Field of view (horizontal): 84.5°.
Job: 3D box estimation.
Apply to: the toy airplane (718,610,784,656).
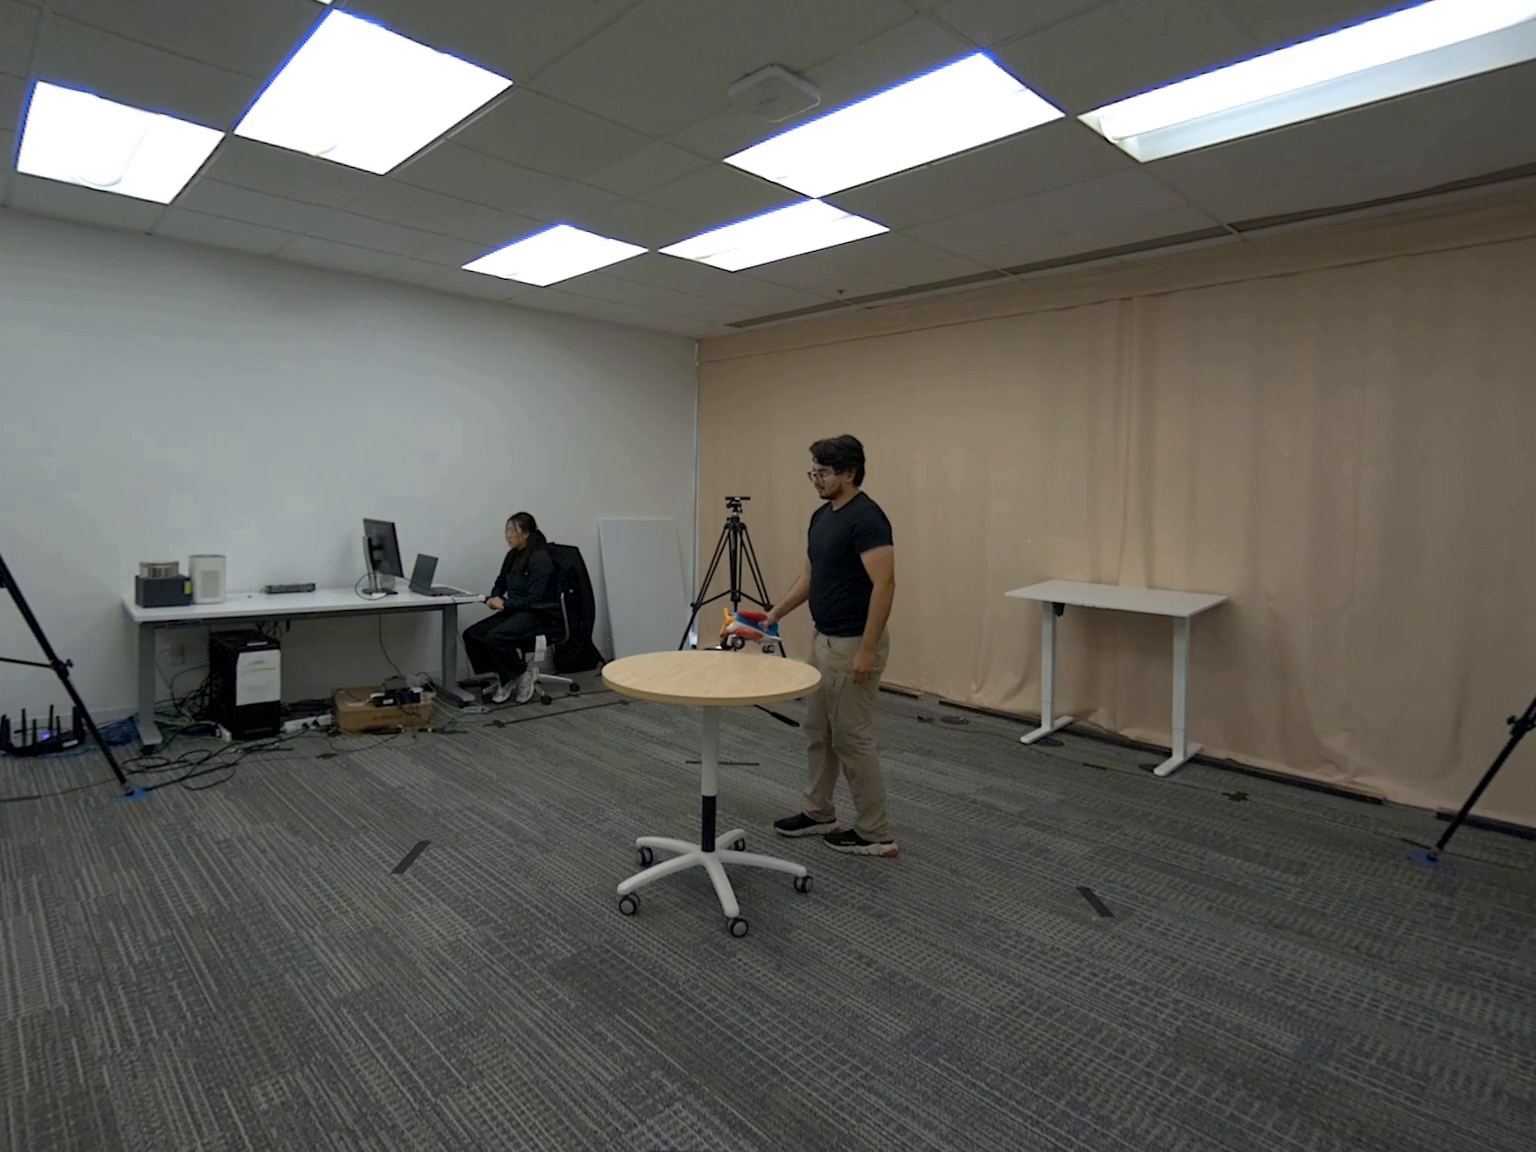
[{"bbox_3d":[-0.084,0.232,3.451,0.256,0.157,0.252,-1,-9,30],"label":"toy airplane"}]
